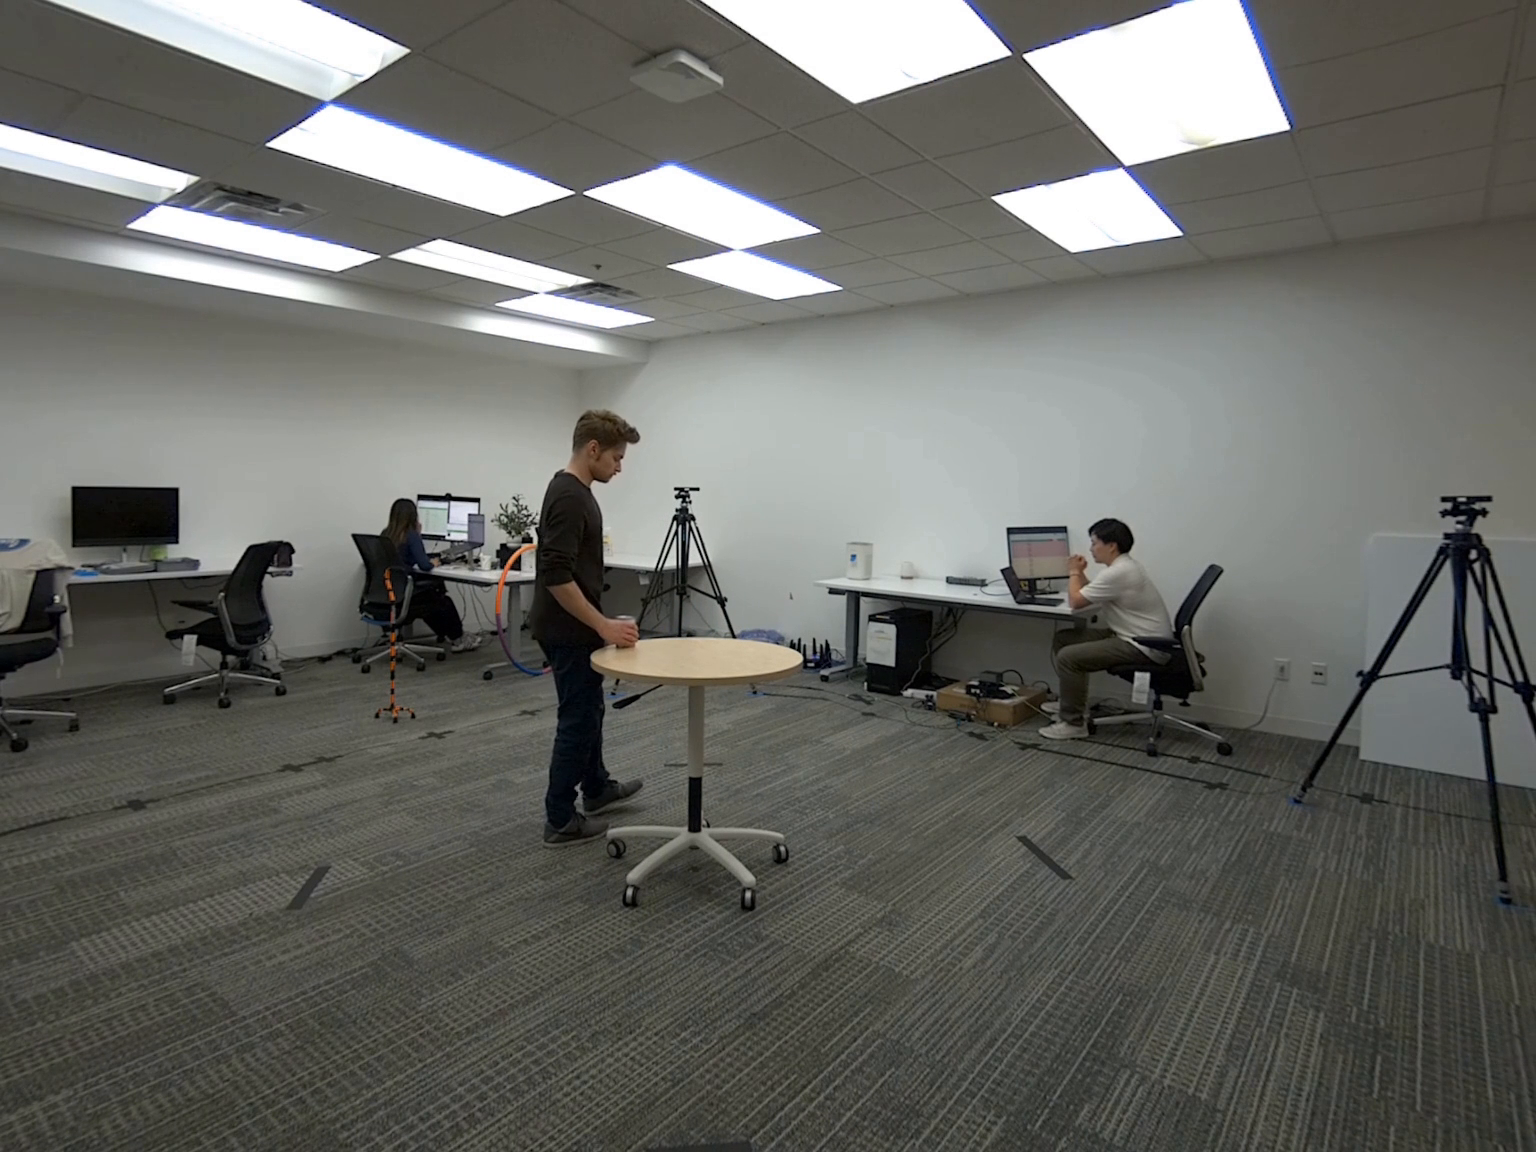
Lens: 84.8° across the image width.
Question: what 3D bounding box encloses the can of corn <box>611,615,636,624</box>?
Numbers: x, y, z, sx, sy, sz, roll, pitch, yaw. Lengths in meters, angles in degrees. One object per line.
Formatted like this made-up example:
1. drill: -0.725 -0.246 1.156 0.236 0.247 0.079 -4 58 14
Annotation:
1. can of corn: -0.559 0.215 3.233 0.074 0.110 0.075 -2 6 -2
